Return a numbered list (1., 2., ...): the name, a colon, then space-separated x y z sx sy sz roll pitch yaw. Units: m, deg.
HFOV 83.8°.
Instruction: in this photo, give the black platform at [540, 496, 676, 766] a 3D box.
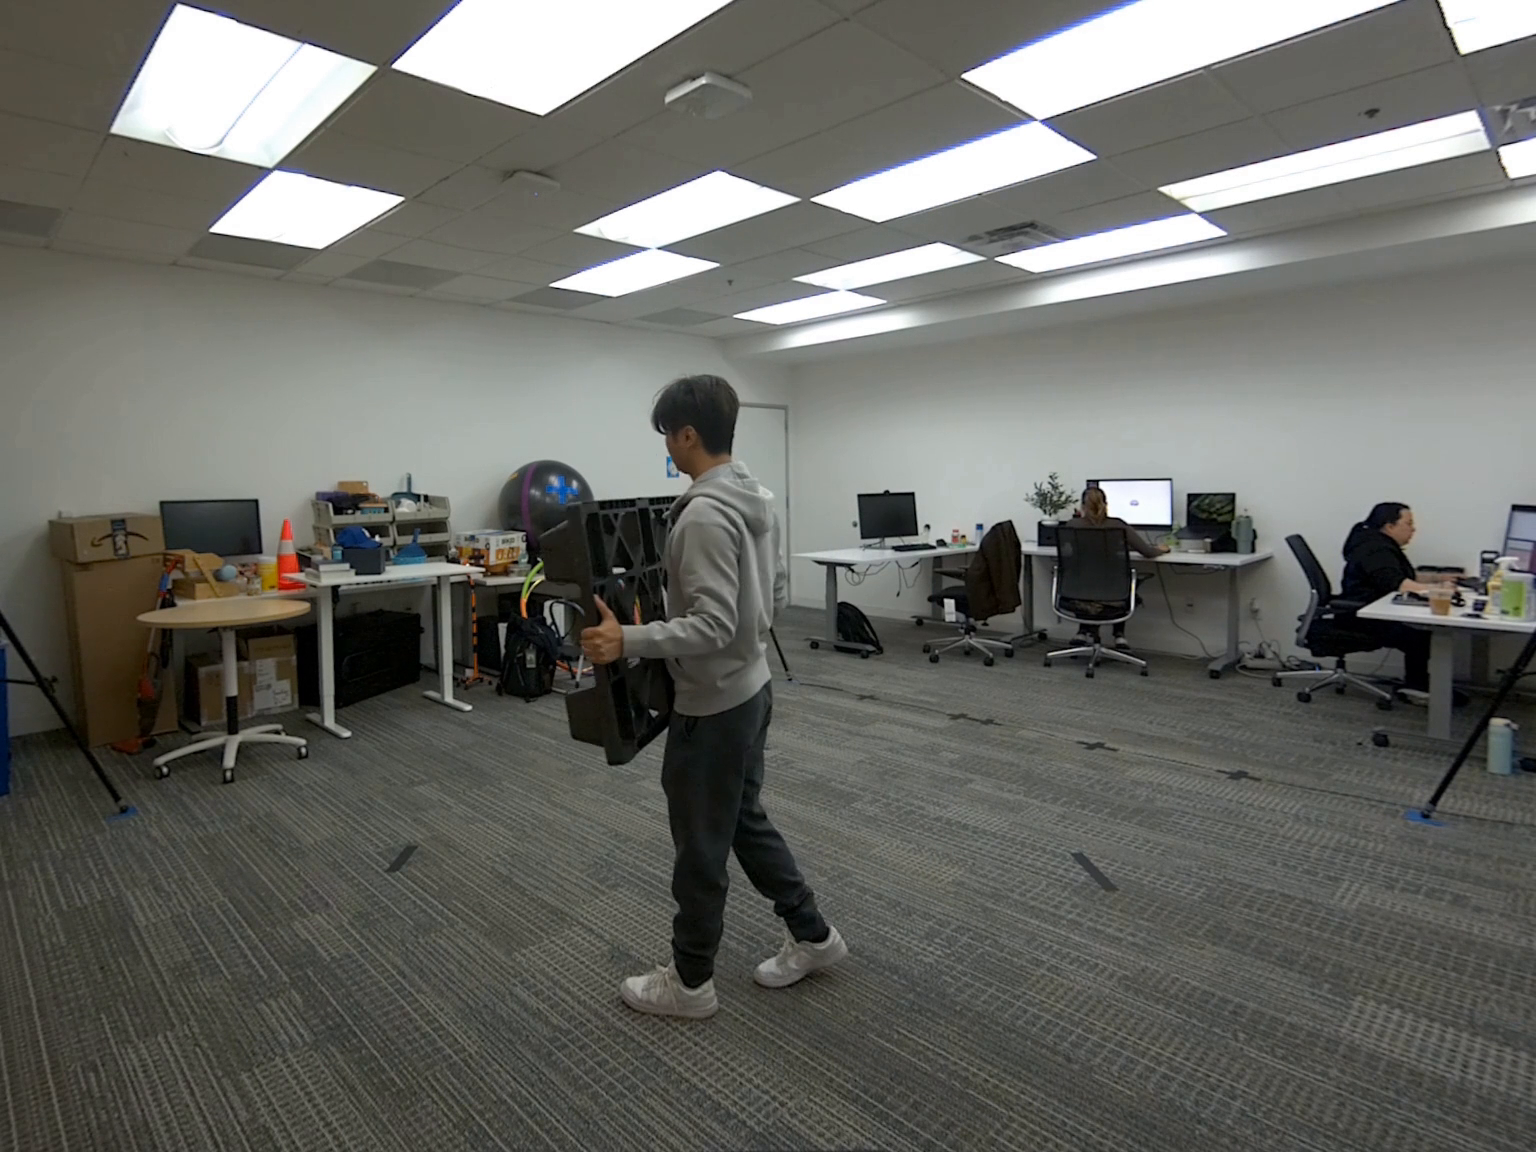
1. black platform: -0.340 0.099 2.289 0.145 0.604 0.798 -7 3 13
